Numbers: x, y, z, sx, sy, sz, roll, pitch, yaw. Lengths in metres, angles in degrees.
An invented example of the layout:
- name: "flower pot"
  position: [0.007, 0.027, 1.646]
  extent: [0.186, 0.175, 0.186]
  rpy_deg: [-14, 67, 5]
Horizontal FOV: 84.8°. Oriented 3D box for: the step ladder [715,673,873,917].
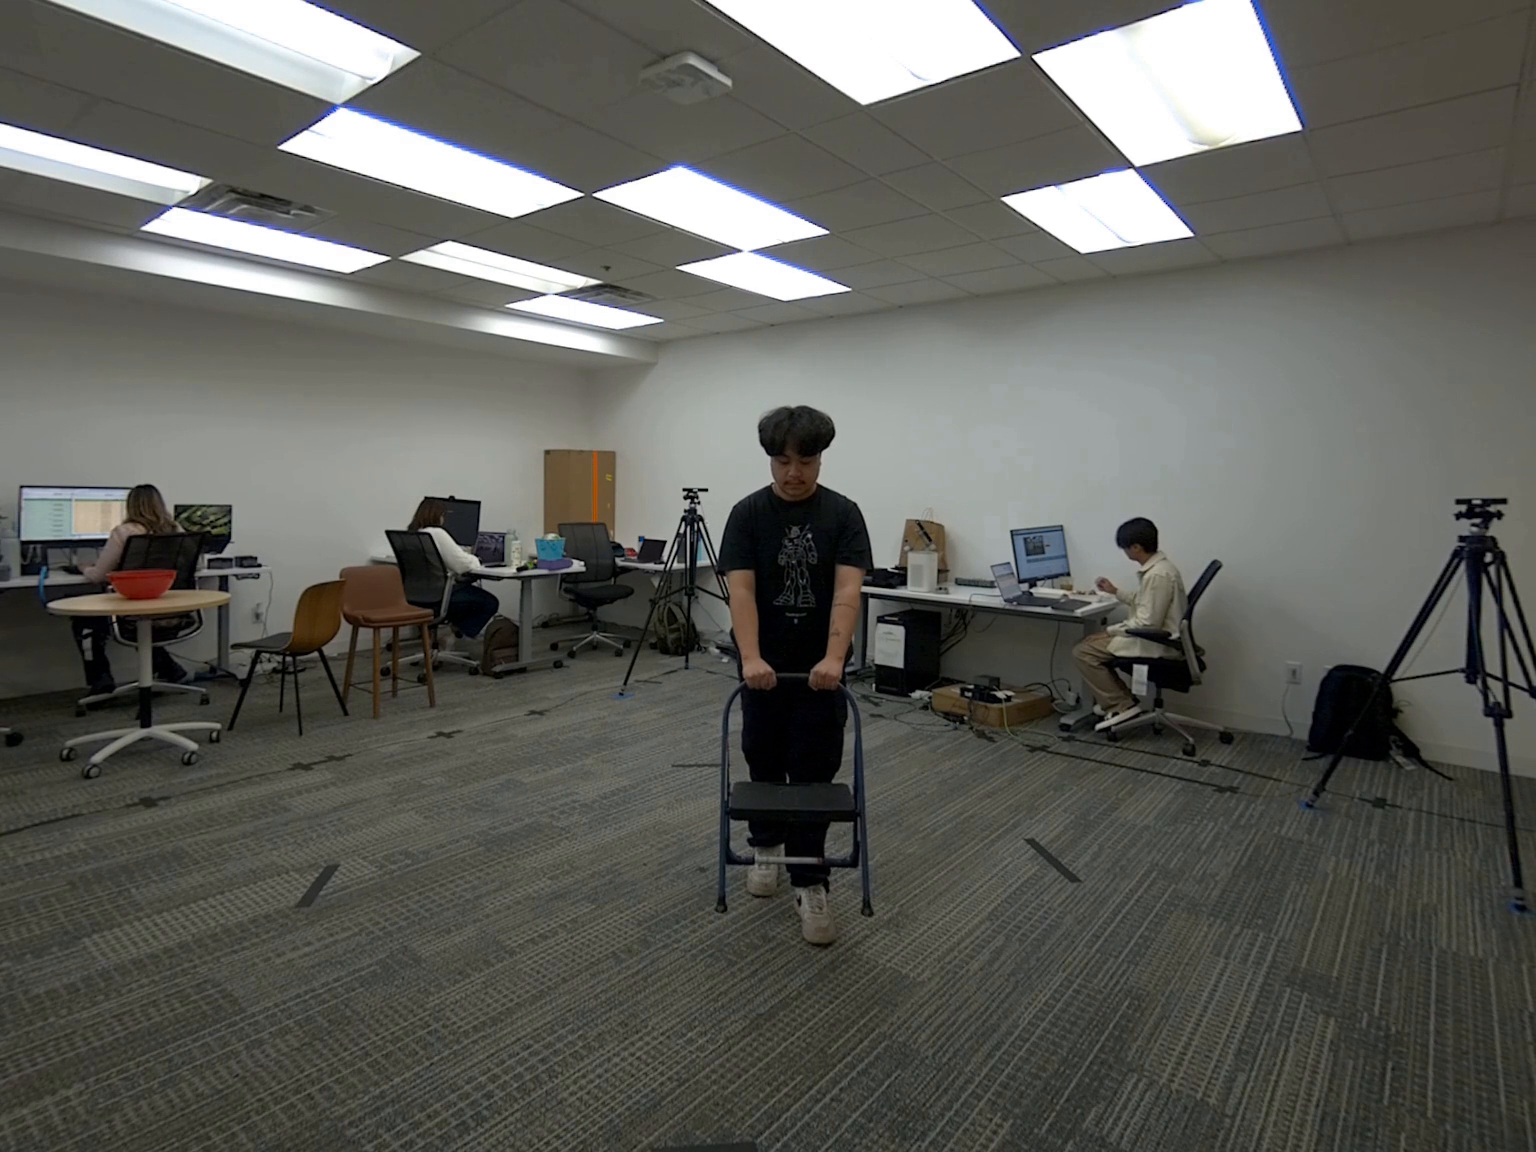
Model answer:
- name: "step ladder"
  position: [0.066, 0.603, 2.467]
  extent: [0.431, 0.606, 0.349]
  rpy_deg: [0, 1, 0]
